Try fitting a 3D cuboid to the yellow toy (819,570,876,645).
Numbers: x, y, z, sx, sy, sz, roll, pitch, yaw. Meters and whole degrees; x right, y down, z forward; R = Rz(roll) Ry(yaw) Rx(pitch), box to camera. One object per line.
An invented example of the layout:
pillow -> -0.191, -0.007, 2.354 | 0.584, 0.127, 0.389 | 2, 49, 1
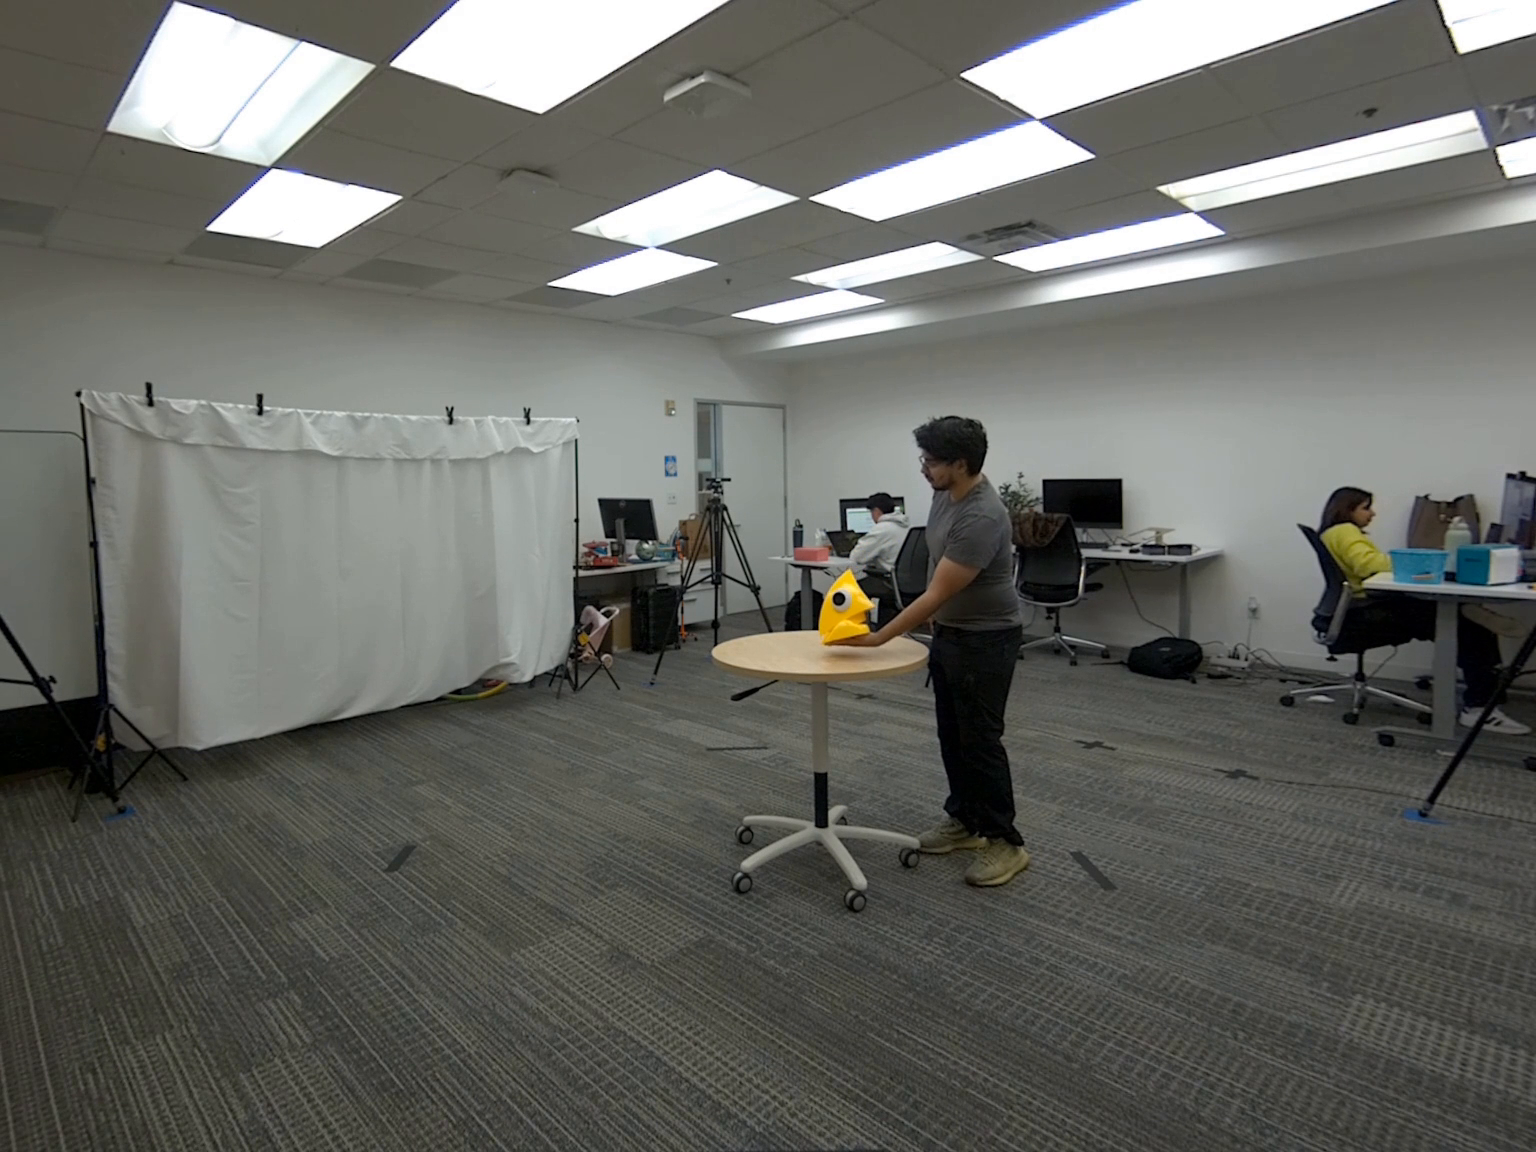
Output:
yellow toy -> 0.254, 0.102, 2.934 | 0.192, 0.233, 0.203 | -12, -8, -5
